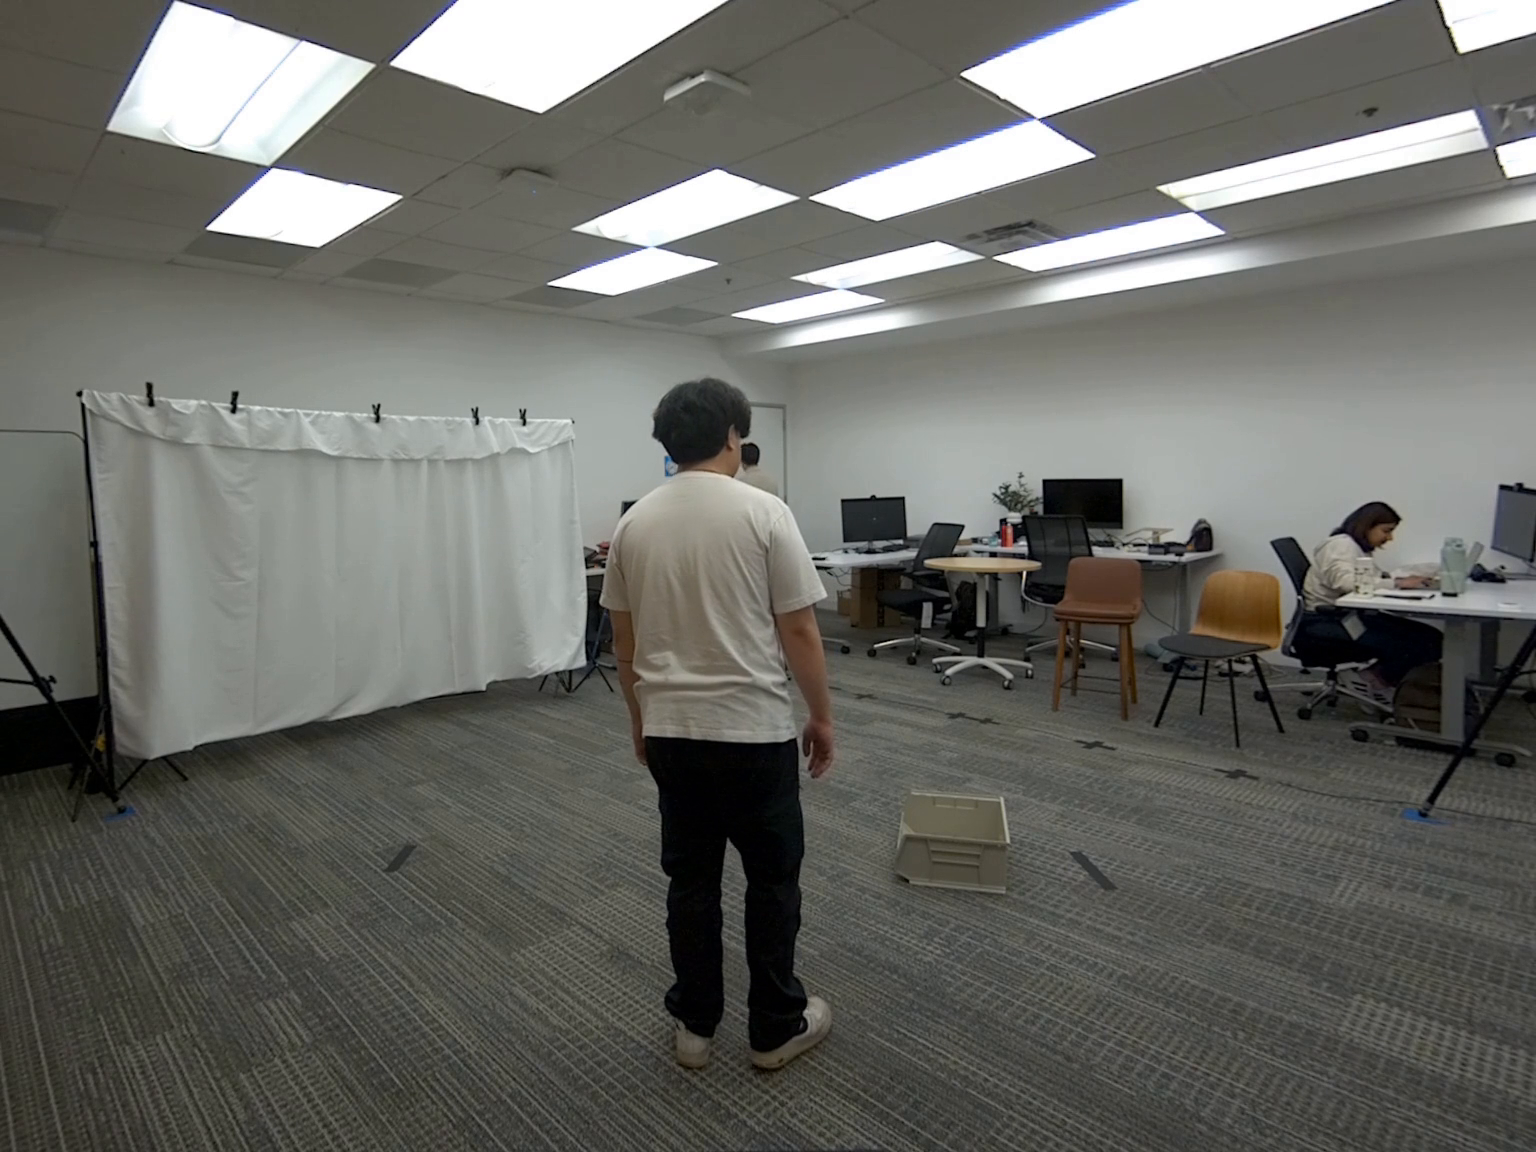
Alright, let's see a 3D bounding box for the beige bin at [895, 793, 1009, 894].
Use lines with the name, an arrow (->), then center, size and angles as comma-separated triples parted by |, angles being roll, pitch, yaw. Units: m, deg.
beige bin -> 0.665, 0.946, 3.074 | 0.382, 0.188, 0.418 | 1, 6, 13
